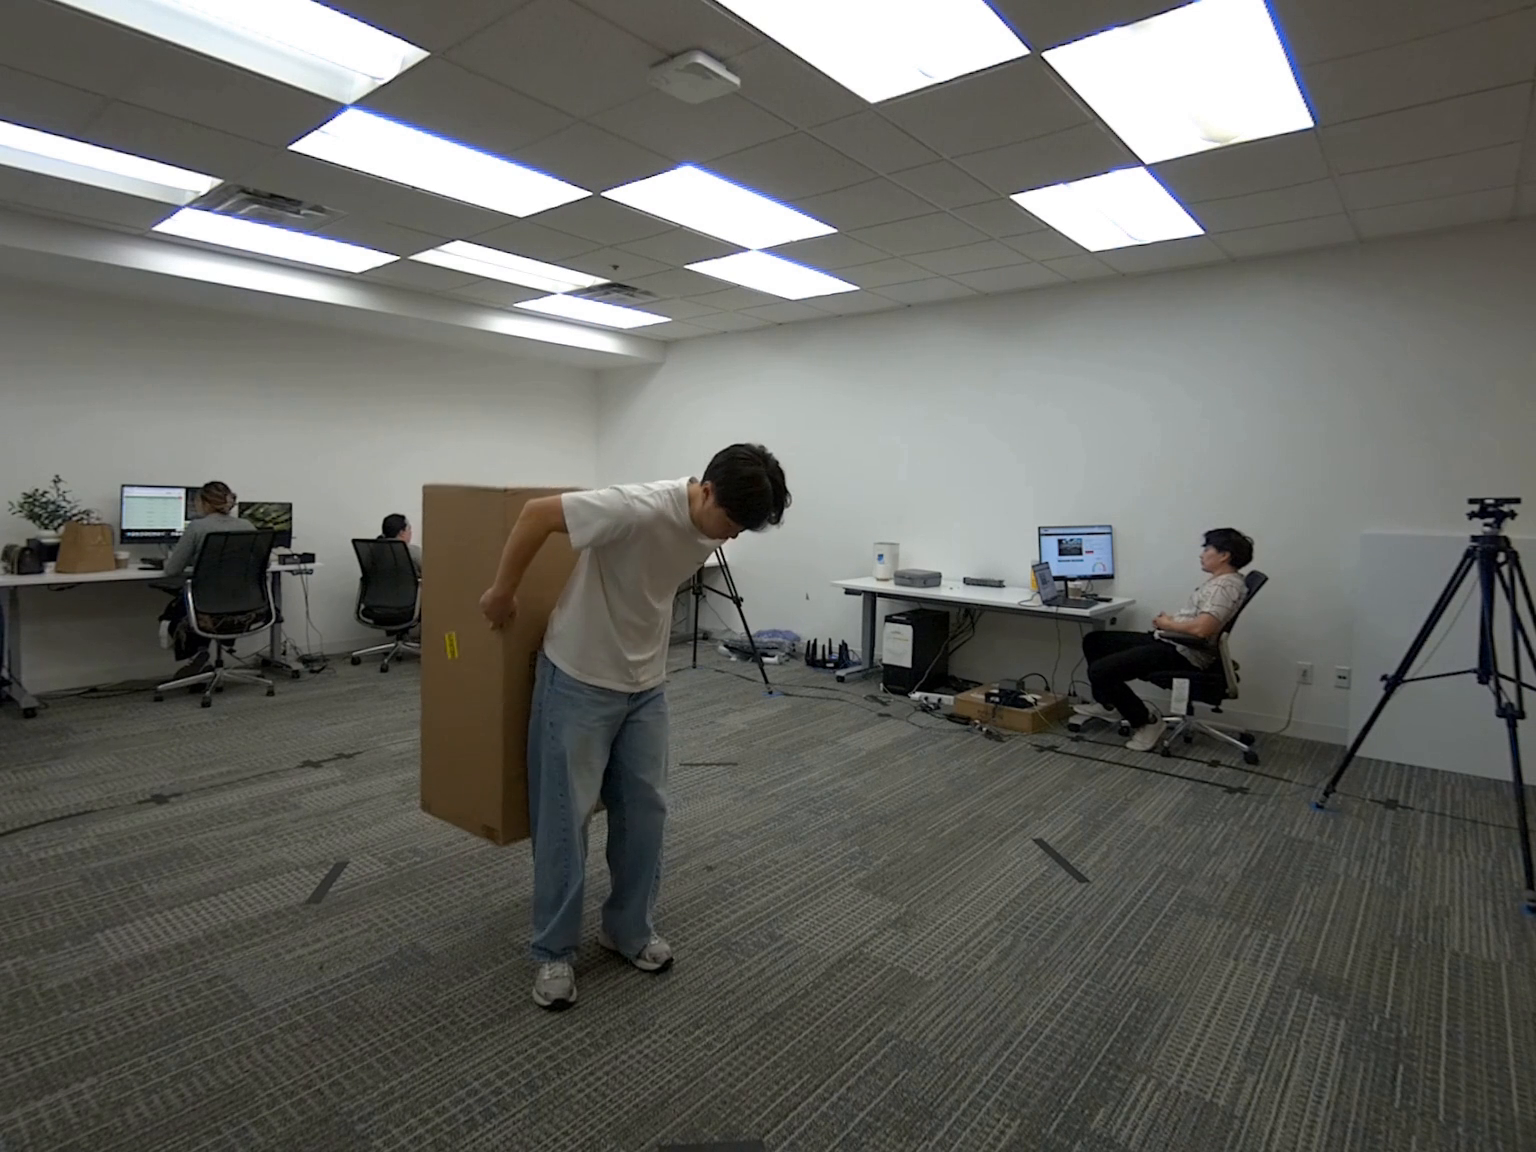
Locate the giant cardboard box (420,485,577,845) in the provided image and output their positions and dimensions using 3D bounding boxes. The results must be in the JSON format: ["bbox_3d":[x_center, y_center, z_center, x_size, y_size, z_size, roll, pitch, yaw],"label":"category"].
[{"bbox_3d":[-0.762,0.223,2.731,0.440,1.022,0.561,5,5,37],"label":"giant cardboard box"}]
